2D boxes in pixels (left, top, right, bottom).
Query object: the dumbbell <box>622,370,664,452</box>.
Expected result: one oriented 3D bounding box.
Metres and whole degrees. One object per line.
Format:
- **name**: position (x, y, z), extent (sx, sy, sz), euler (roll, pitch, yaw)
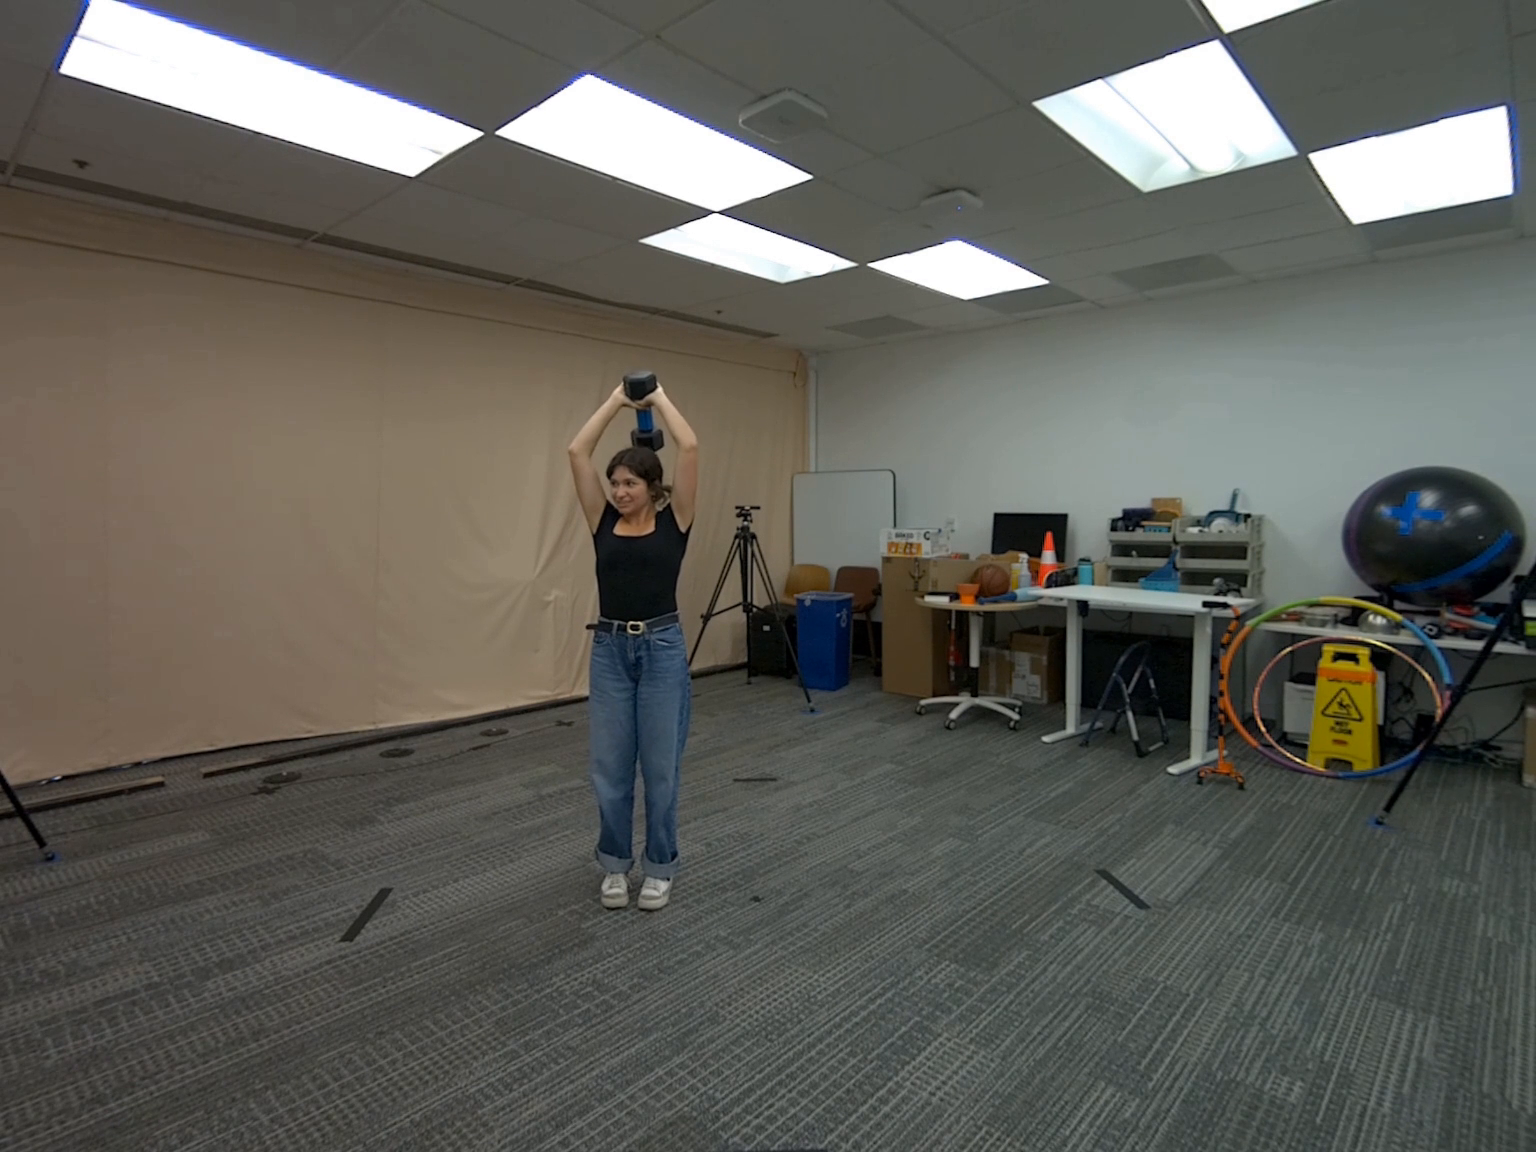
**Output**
- **dumbbell**: position (-0.452, -0.590, 3.095), extent (0.112, 0.288, 0.121), euler (15, 36, 33)
